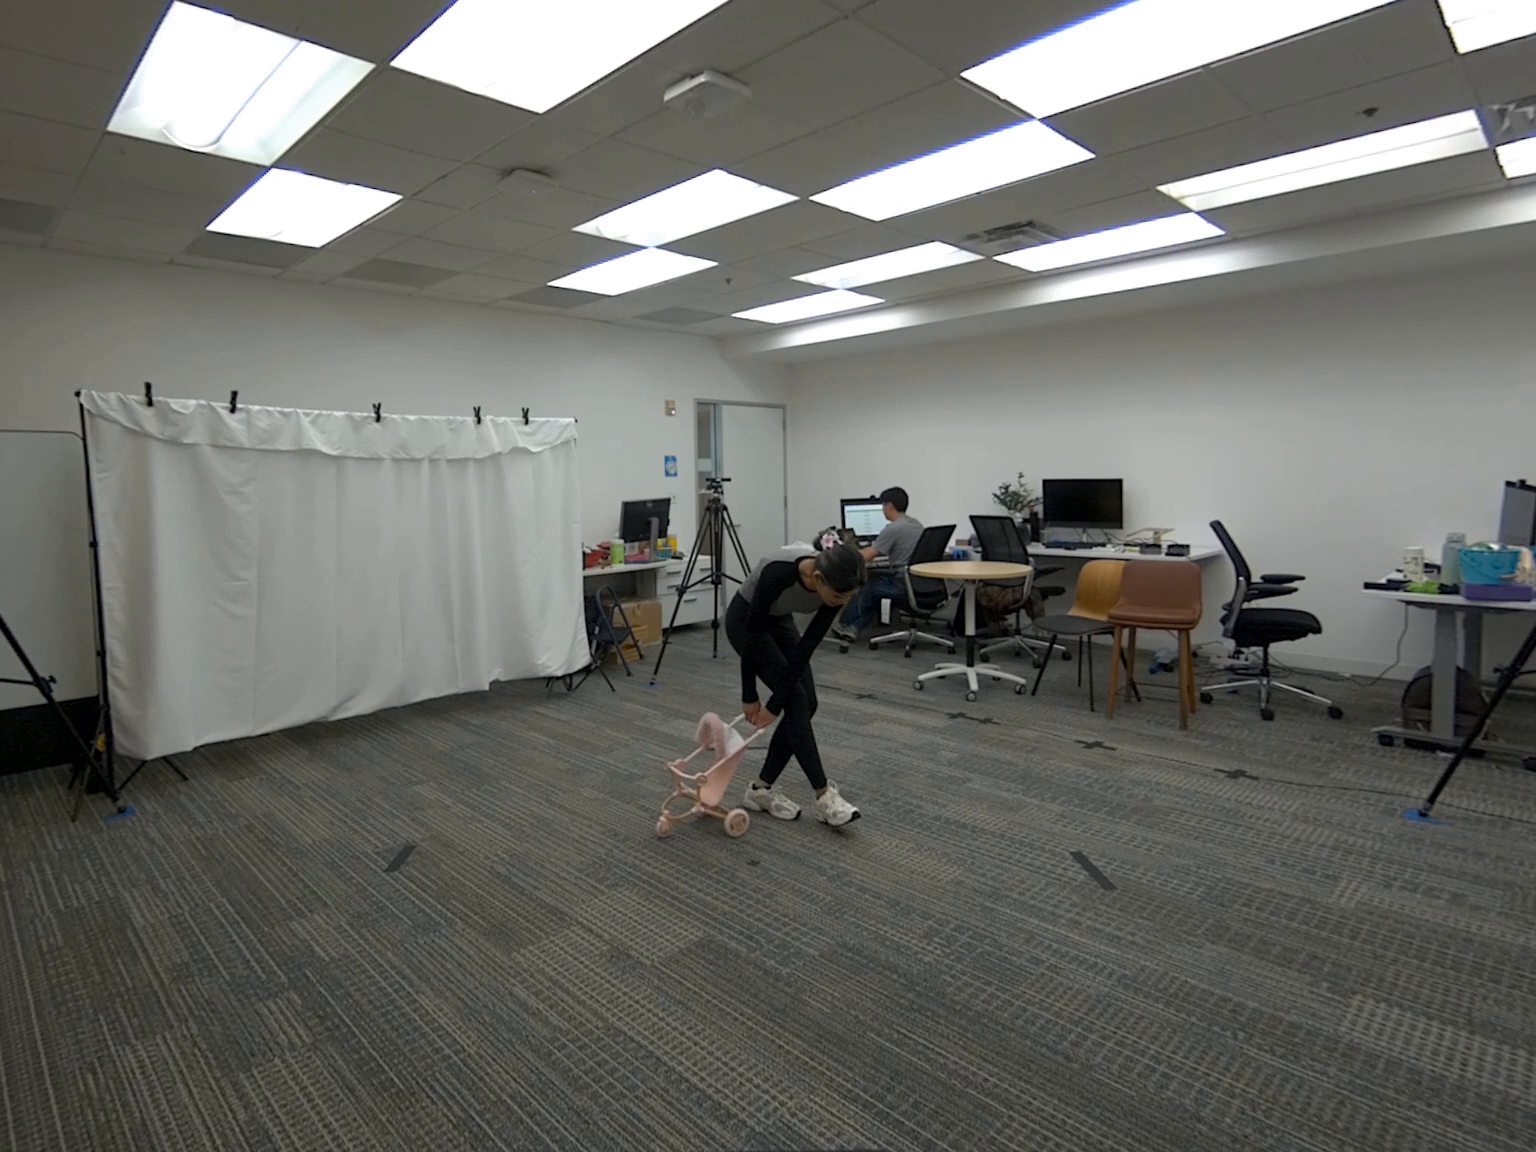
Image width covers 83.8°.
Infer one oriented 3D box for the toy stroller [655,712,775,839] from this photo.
[{"bbox_3d":[-0.241,0.783,3.407,0.333,0.536,0.288,16,-3,-23],"label":"toy stroller"}]
